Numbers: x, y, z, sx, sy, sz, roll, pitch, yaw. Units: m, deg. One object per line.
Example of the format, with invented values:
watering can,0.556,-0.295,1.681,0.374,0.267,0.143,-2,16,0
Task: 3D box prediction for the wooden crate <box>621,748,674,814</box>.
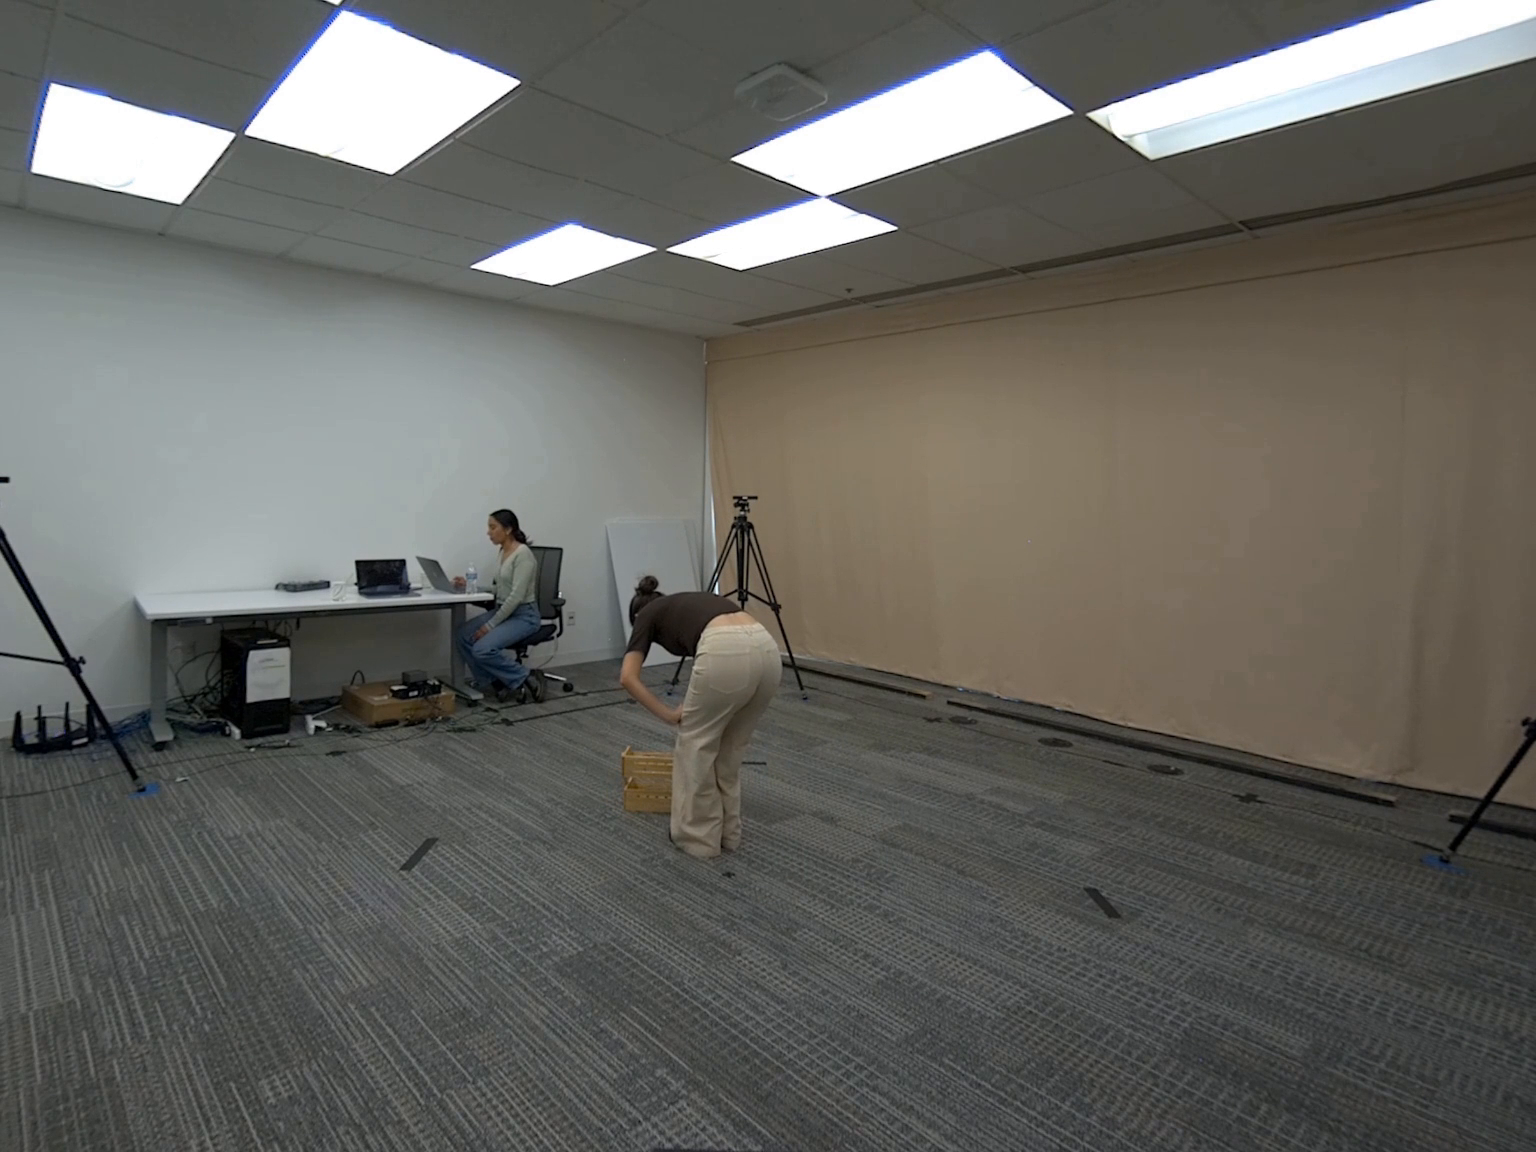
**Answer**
wooden crate,-0.496,0.899,3.809,0.325,0.272,0.302,2,5,1
